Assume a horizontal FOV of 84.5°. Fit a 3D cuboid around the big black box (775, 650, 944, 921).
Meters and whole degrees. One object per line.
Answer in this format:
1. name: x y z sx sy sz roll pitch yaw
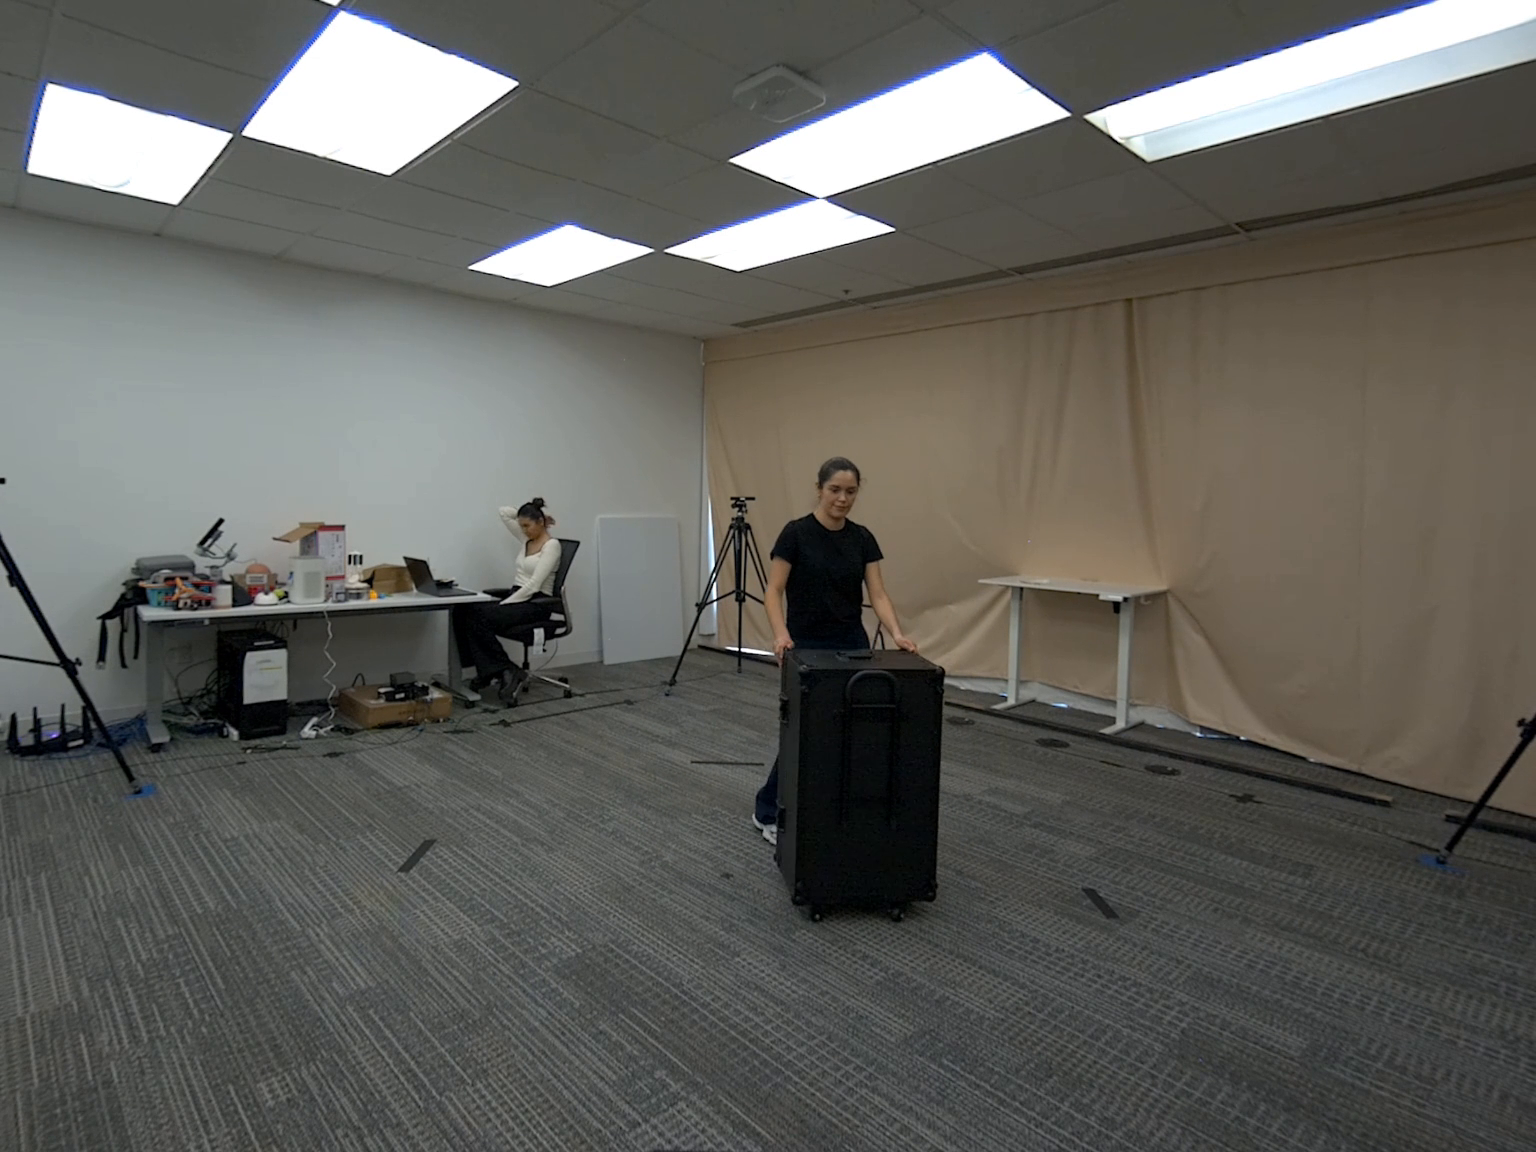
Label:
1. big black box: 0.304 0.713 2.901 0.518 0.859 0.400 1 4 -8
